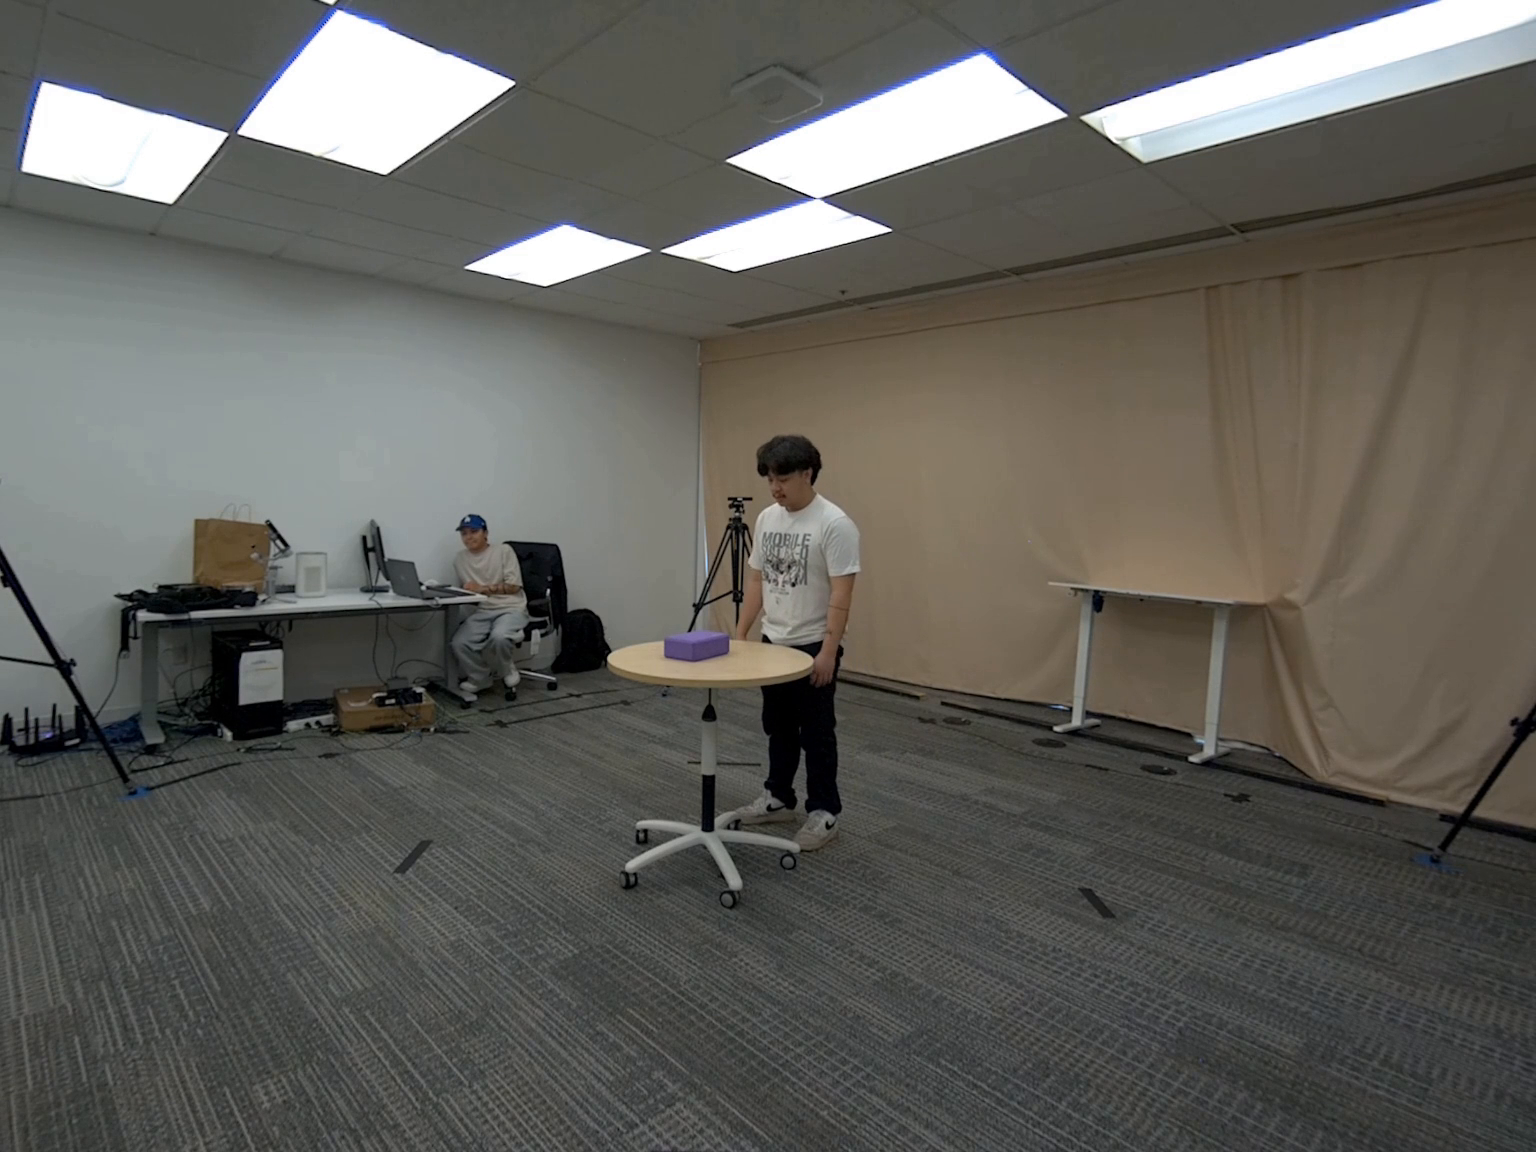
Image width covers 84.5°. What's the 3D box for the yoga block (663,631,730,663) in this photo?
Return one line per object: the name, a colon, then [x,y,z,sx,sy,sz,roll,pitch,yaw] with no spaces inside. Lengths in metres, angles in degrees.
yoga block: [-0.273,0.262,3.167,0.152,0.076,0.225,4,6,33]
